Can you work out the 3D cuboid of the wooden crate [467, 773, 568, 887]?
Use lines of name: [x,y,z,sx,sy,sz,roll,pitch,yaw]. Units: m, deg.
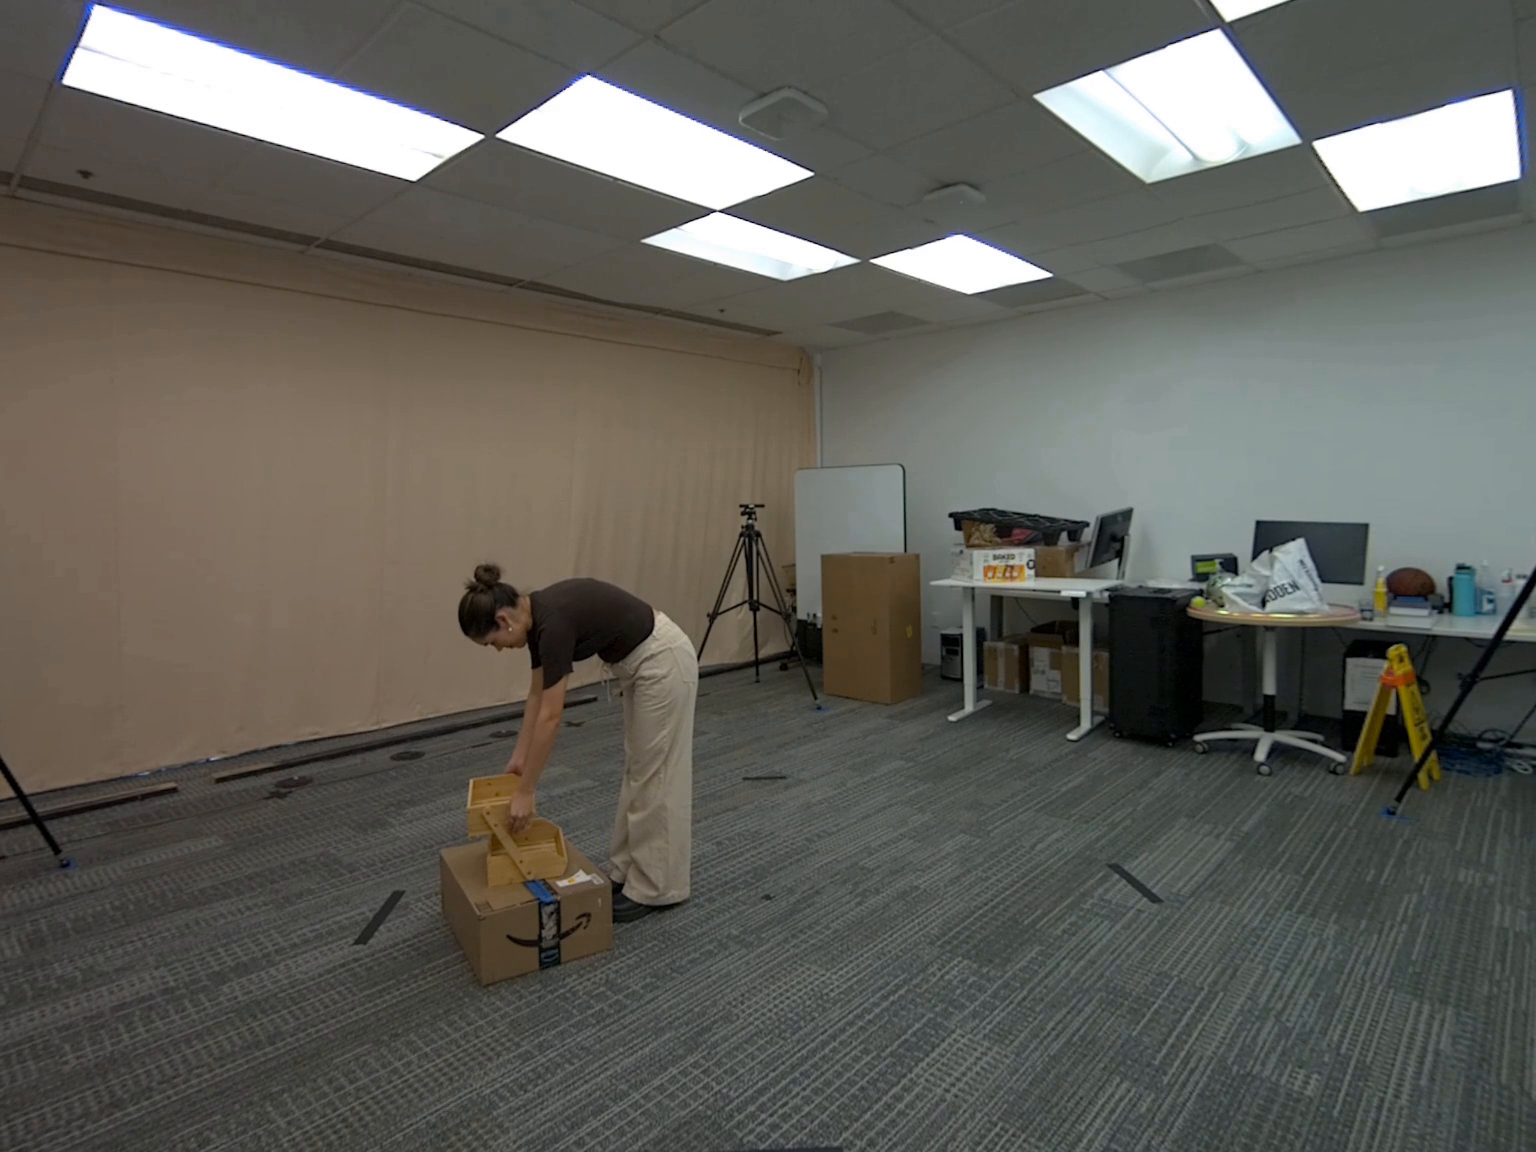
wooden crate: [-0.821,0.822,2.806,0.297,0.273,0.330,-3,3,-16]
